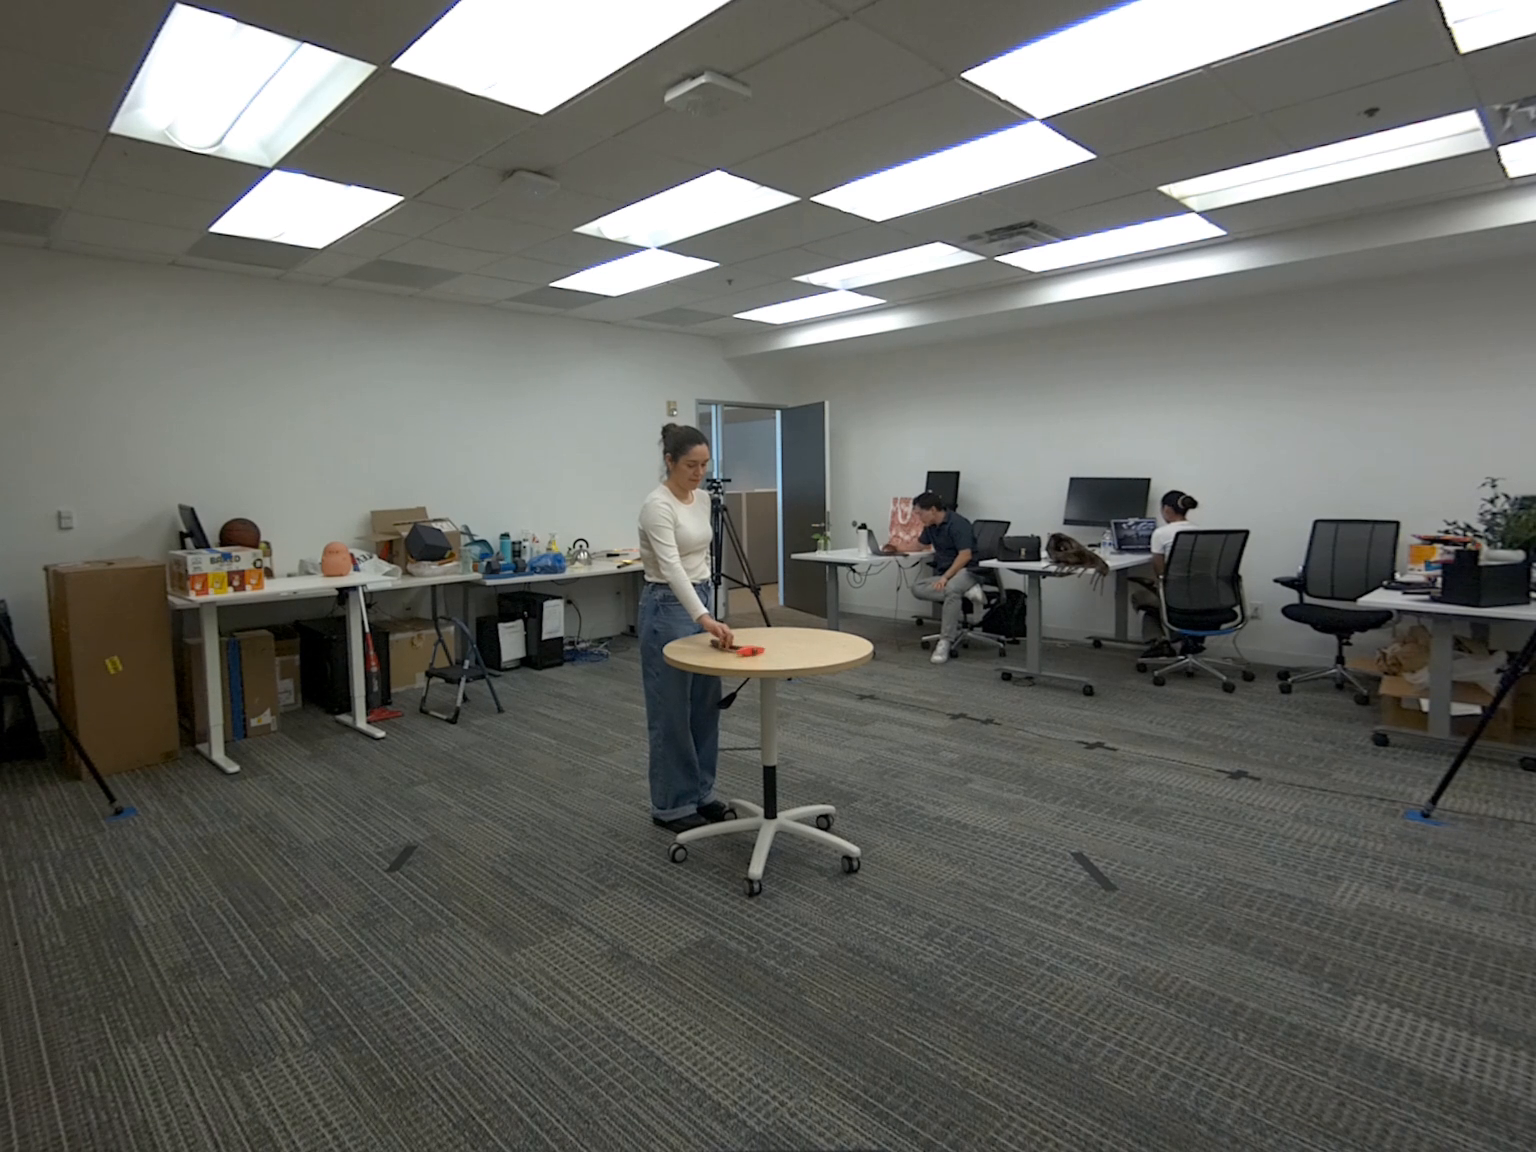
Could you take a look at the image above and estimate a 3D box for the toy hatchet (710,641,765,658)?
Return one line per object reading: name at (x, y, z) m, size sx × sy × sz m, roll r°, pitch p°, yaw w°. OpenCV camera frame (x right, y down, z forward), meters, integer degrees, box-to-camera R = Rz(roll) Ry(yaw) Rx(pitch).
toy hatchet at (-0.116, 0.254, 3.085) m, size 0.128 × 0.029 × 0.277 m, roll -2°, pitch 5°, yaw -26°
